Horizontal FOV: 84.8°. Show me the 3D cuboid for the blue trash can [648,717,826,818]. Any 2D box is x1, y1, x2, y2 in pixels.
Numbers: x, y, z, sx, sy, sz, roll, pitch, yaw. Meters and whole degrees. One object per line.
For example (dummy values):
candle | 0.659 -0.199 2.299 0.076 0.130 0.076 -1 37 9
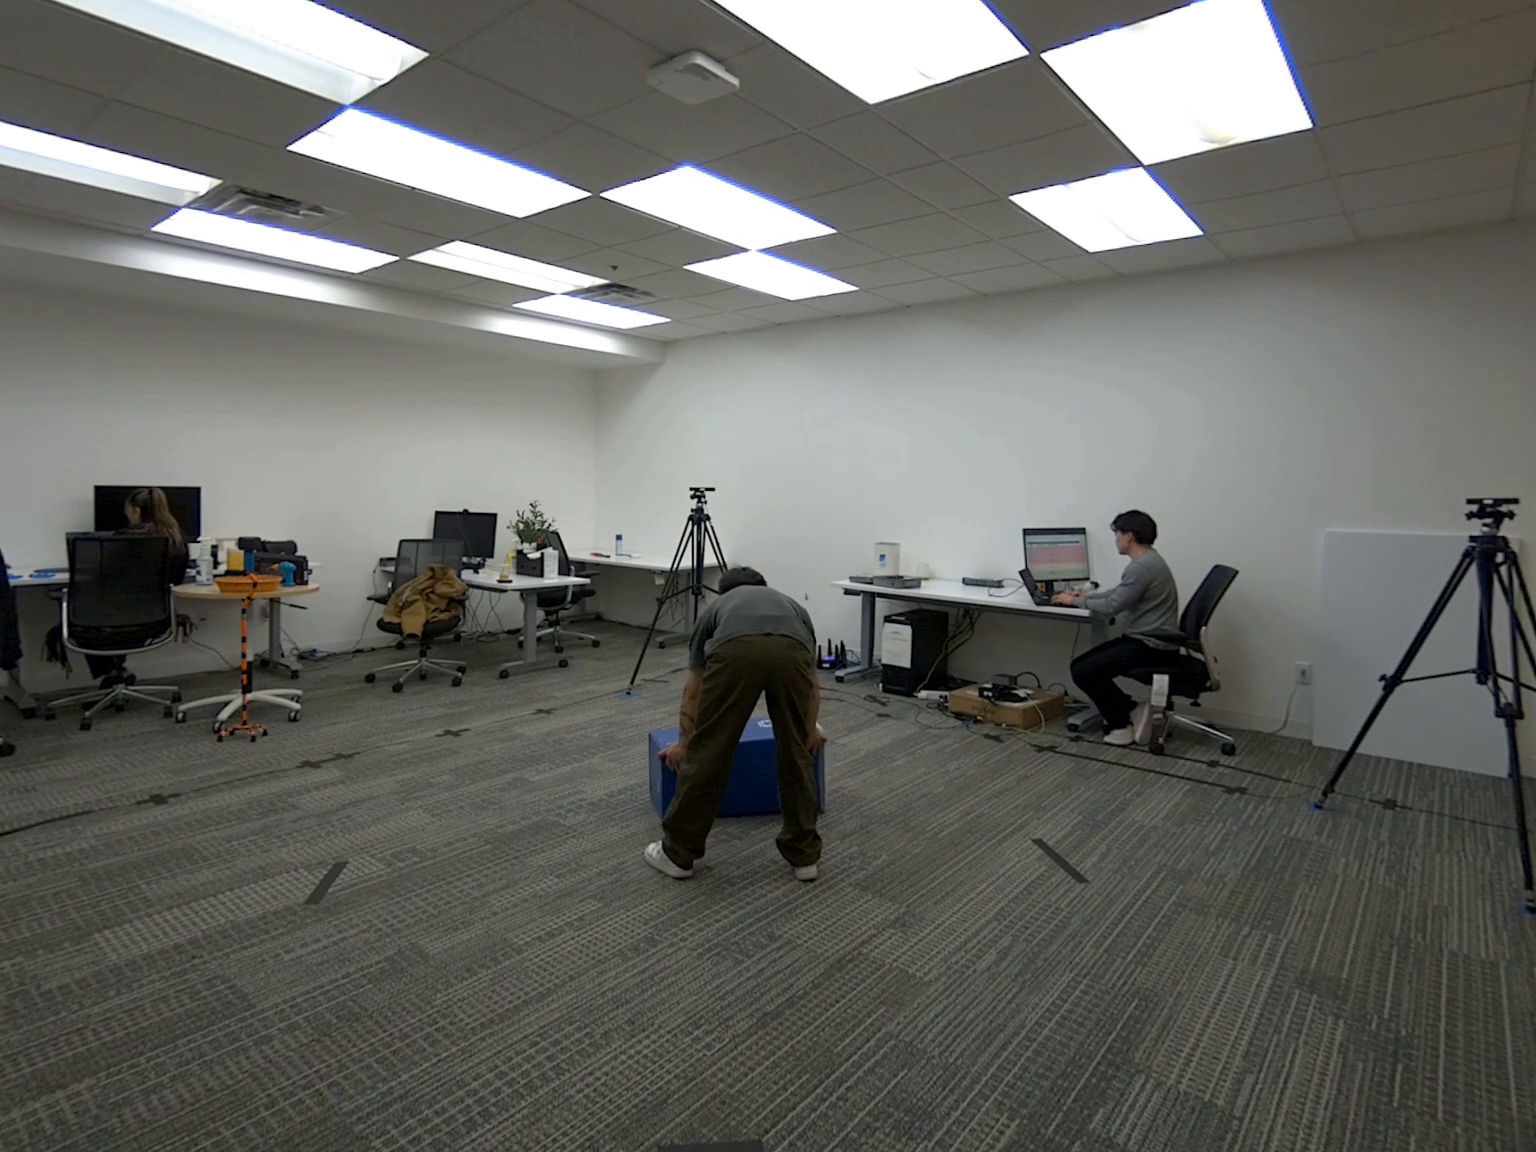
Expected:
blue trash can | -0.154 0.827 3.738 0.703 0.372 0.386 -2 6 -15
